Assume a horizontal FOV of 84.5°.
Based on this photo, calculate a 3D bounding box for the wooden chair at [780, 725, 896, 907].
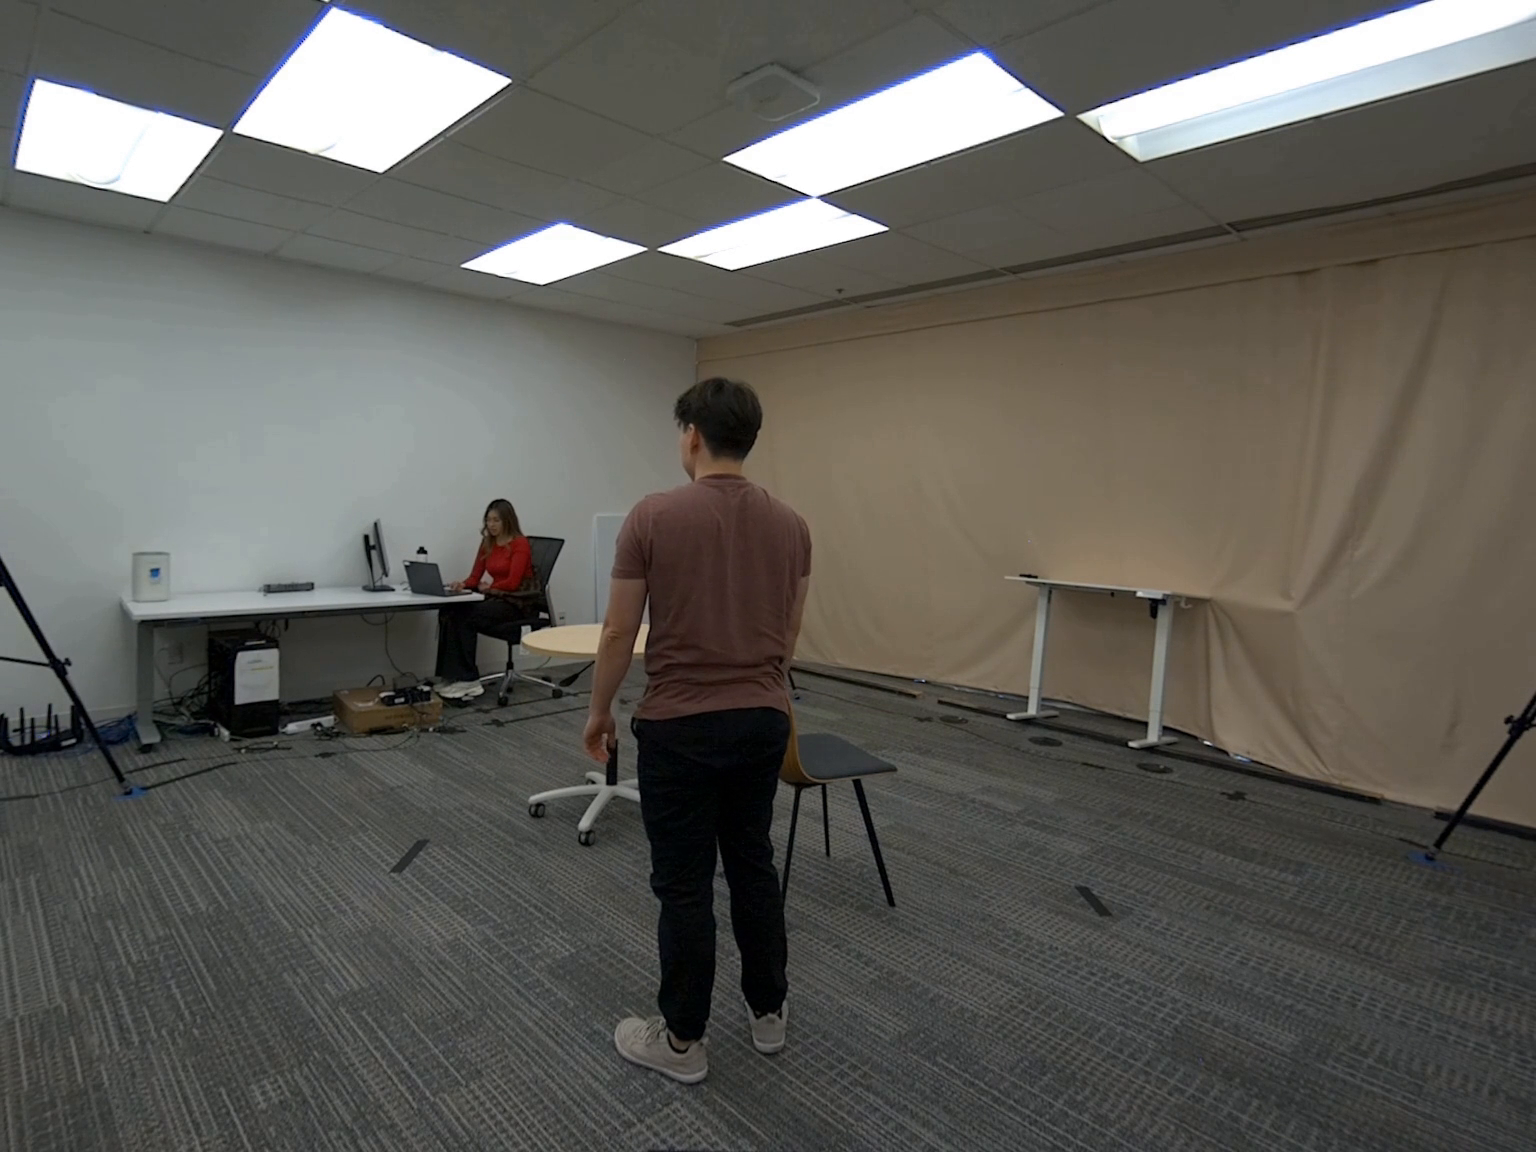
[{"bbox_3d":[0.148,0.696,2.980,0.514,0.874,0.488,-5,5,-25],"label":"wooden chair"}]
